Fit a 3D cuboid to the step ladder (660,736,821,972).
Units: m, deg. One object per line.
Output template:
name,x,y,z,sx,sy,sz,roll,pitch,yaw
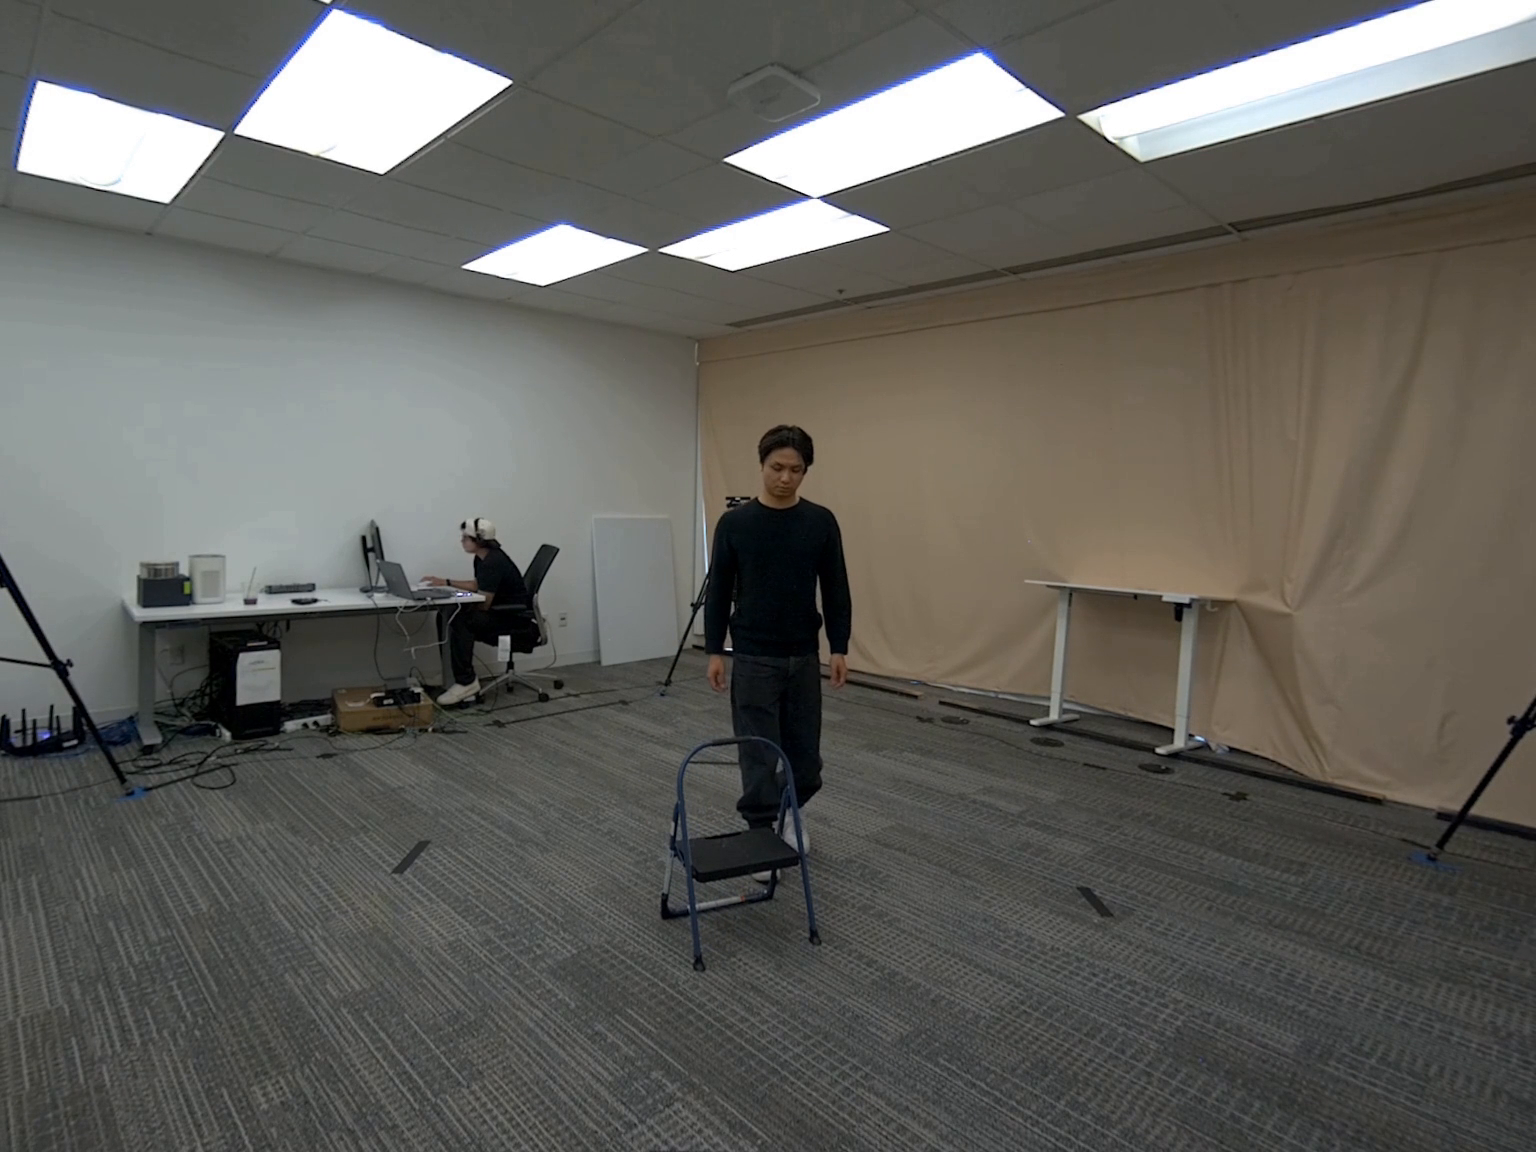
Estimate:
step ladder,-0.095,0.843,2.692,0.423,0.604,0.357,0,4,-26
